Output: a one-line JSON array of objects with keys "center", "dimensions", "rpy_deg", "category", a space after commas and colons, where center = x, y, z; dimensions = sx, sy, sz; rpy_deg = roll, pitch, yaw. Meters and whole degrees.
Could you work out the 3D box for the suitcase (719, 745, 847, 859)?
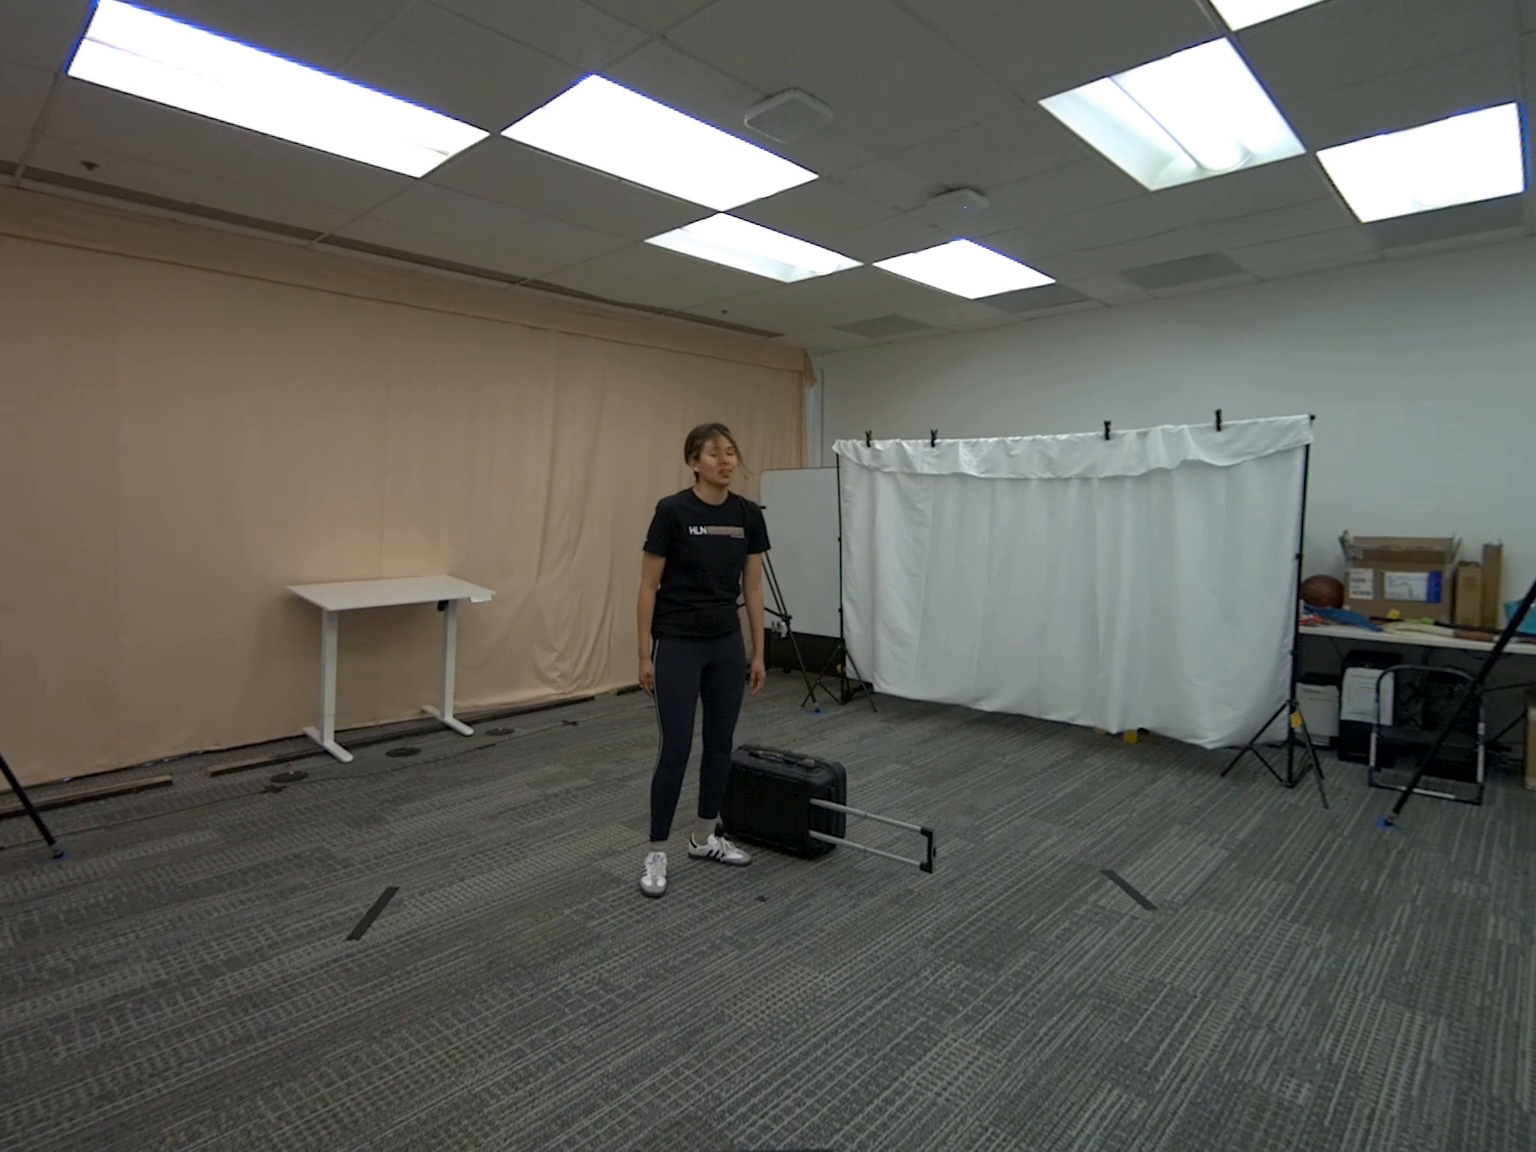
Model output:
[{"center": [0.226, 0.923, 3.345], "dimensions": [1.009, 0.383, 0.250], "rpy_deg": [3, 4, 35], "category": "suitcase"}]
